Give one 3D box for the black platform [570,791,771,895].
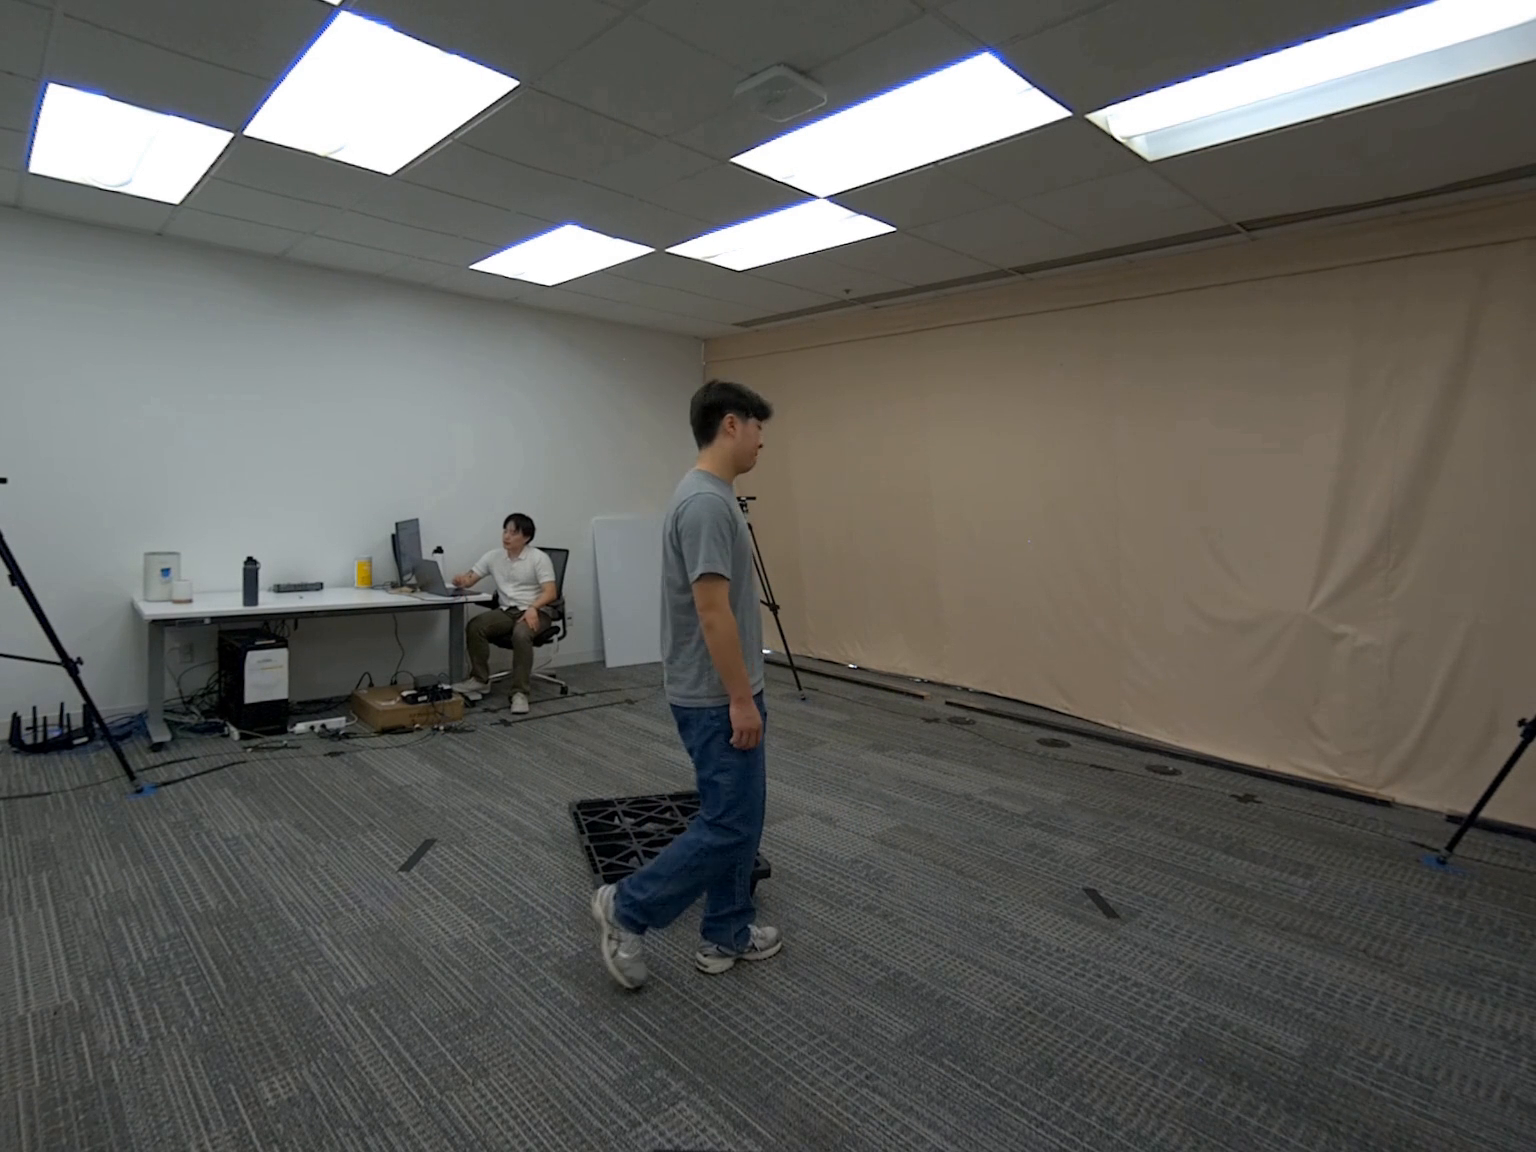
[{"bbox_3d":[-0.404,1.027,3.169,0.596,0.143,0.820,0,6,-19],"label":"black platform"}]
